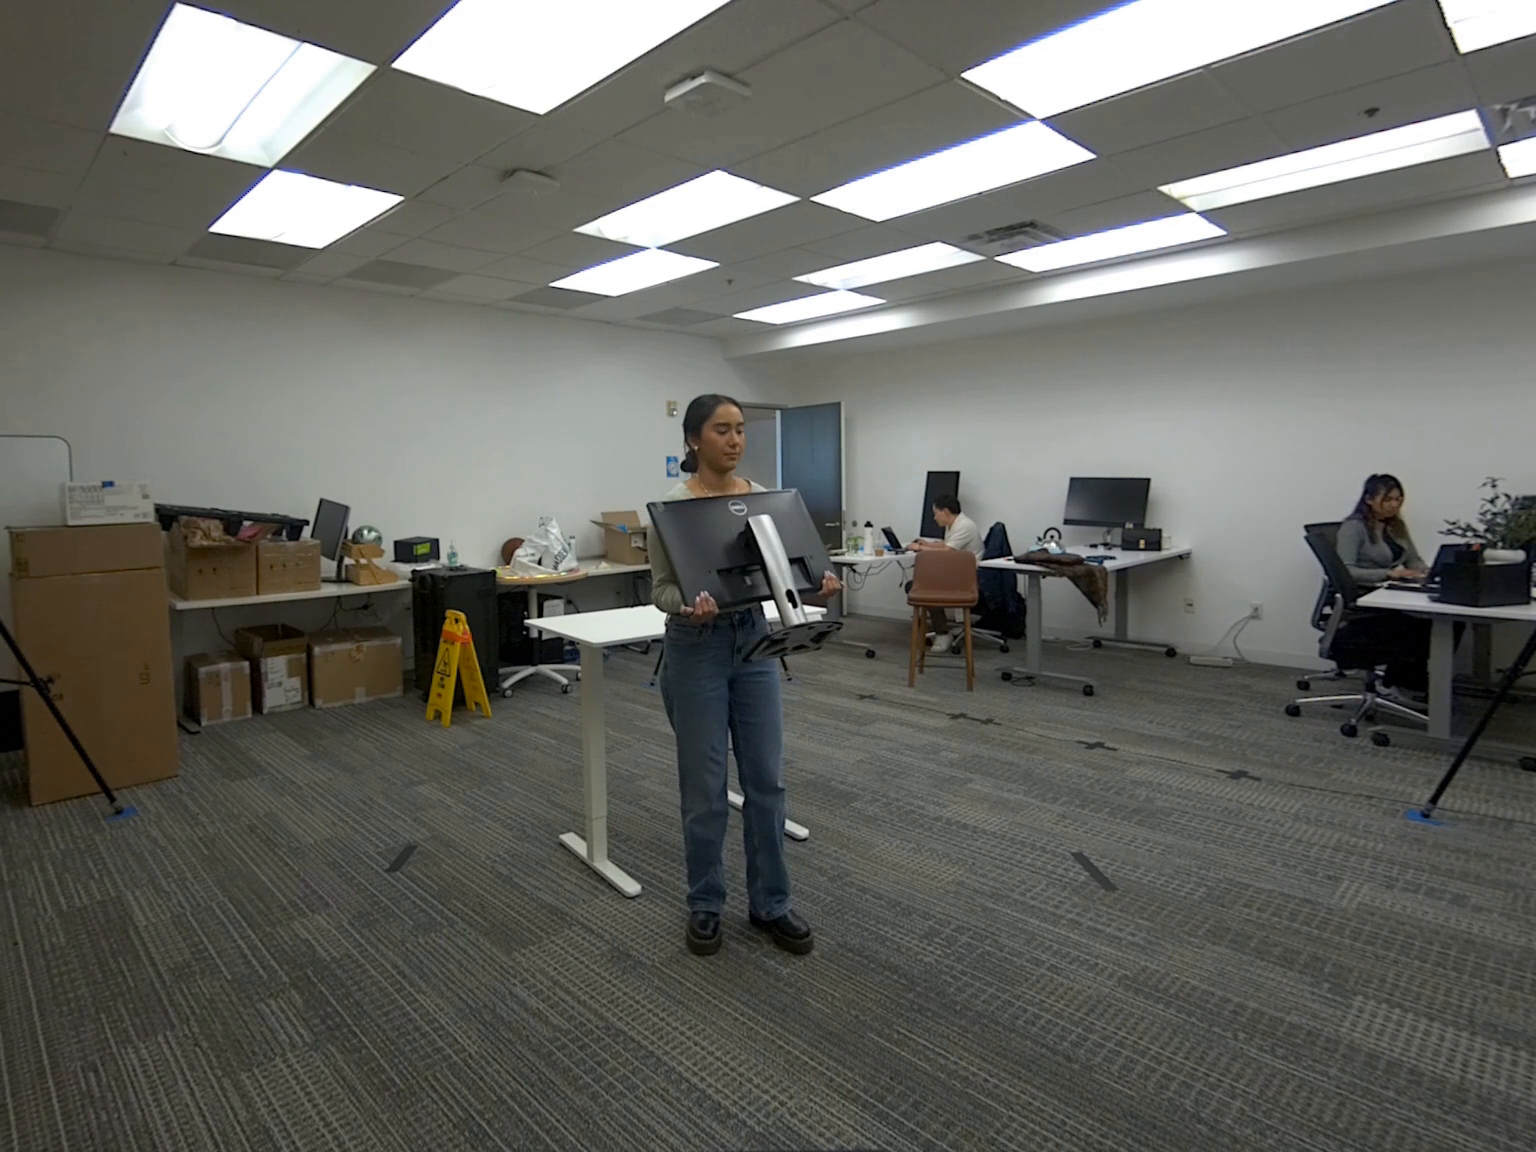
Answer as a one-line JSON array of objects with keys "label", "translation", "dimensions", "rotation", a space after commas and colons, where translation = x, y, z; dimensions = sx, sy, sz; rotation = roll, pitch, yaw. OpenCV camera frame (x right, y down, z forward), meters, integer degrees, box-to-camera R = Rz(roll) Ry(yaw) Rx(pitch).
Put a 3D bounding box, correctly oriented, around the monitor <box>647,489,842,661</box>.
[{"label": "monitor", "translation": [-0.023, -0.027, 2.425], "dimensions": [0.526, 0.540, 0.185], "rotation": [-8, -35, -34]}]
